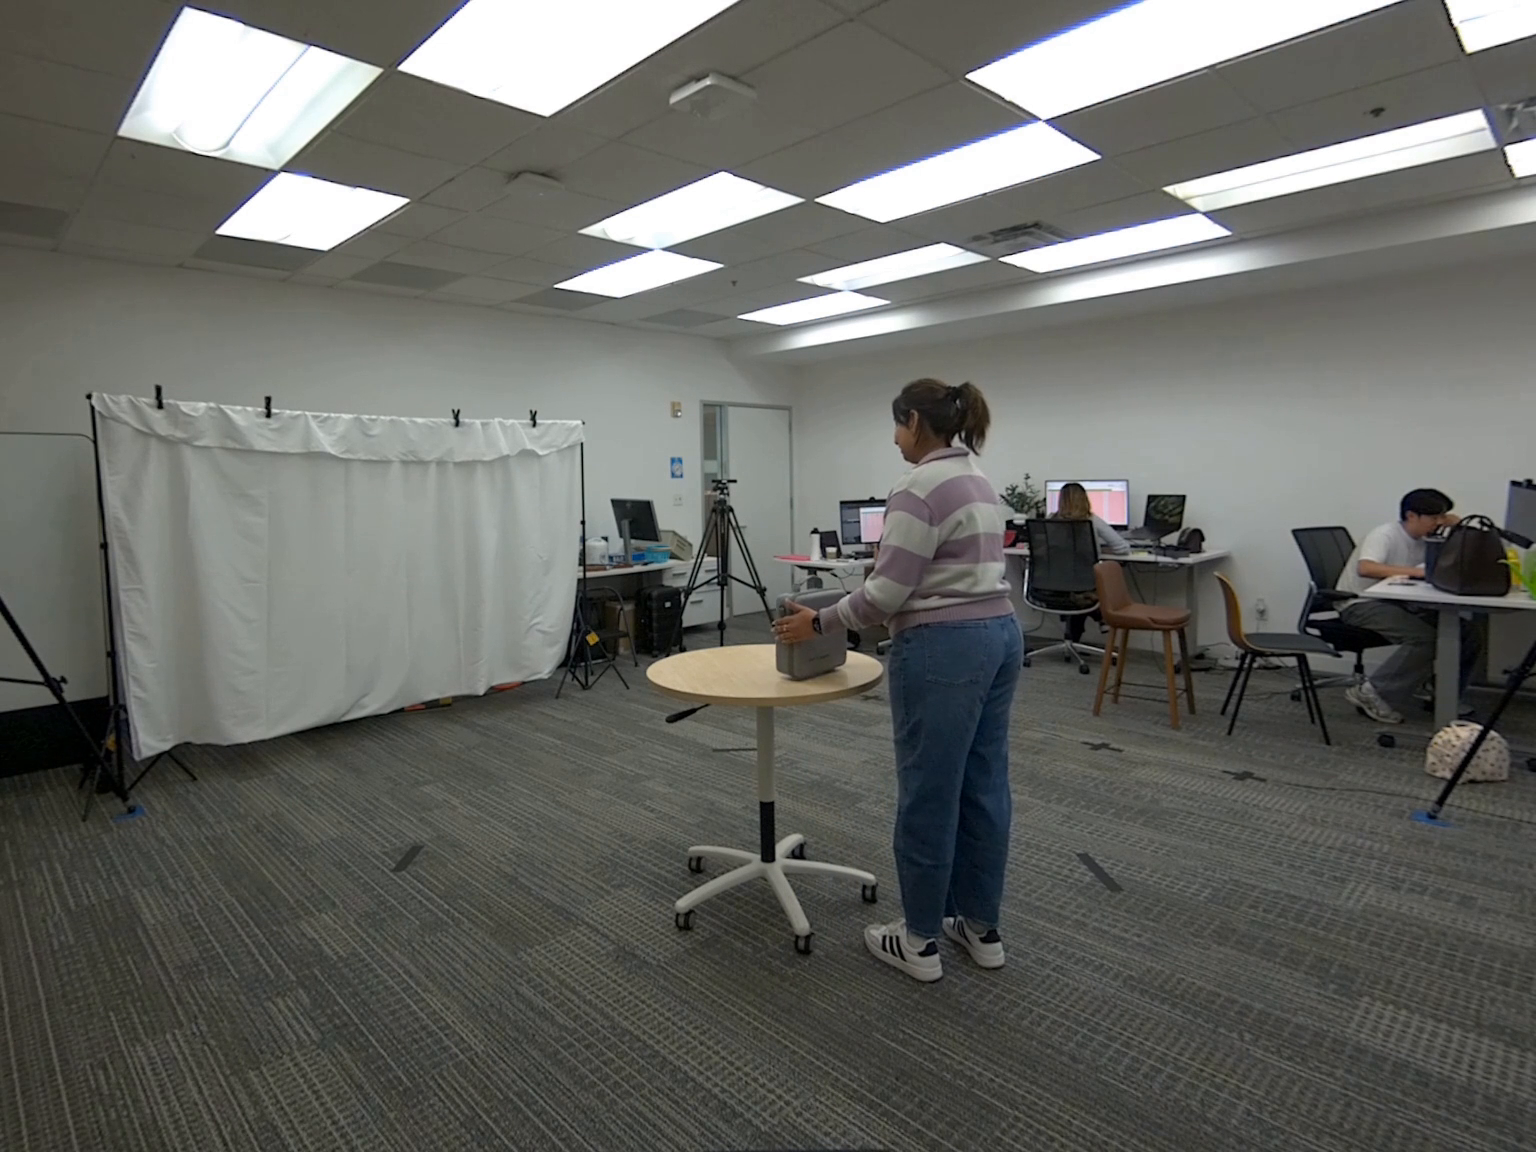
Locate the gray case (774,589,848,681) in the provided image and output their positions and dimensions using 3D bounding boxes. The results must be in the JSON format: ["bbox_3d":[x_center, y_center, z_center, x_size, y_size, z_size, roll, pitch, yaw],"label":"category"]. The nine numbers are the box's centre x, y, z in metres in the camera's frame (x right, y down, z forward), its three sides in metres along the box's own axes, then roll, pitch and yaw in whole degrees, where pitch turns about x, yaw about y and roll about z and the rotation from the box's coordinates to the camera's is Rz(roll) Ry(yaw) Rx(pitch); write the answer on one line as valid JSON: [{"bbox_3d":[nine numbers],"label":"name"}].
[{"bbox_3d":[0.141,0.163,2.653,0.250,0.260,0.107,-4,6,-44],"label":"gray case"}]
